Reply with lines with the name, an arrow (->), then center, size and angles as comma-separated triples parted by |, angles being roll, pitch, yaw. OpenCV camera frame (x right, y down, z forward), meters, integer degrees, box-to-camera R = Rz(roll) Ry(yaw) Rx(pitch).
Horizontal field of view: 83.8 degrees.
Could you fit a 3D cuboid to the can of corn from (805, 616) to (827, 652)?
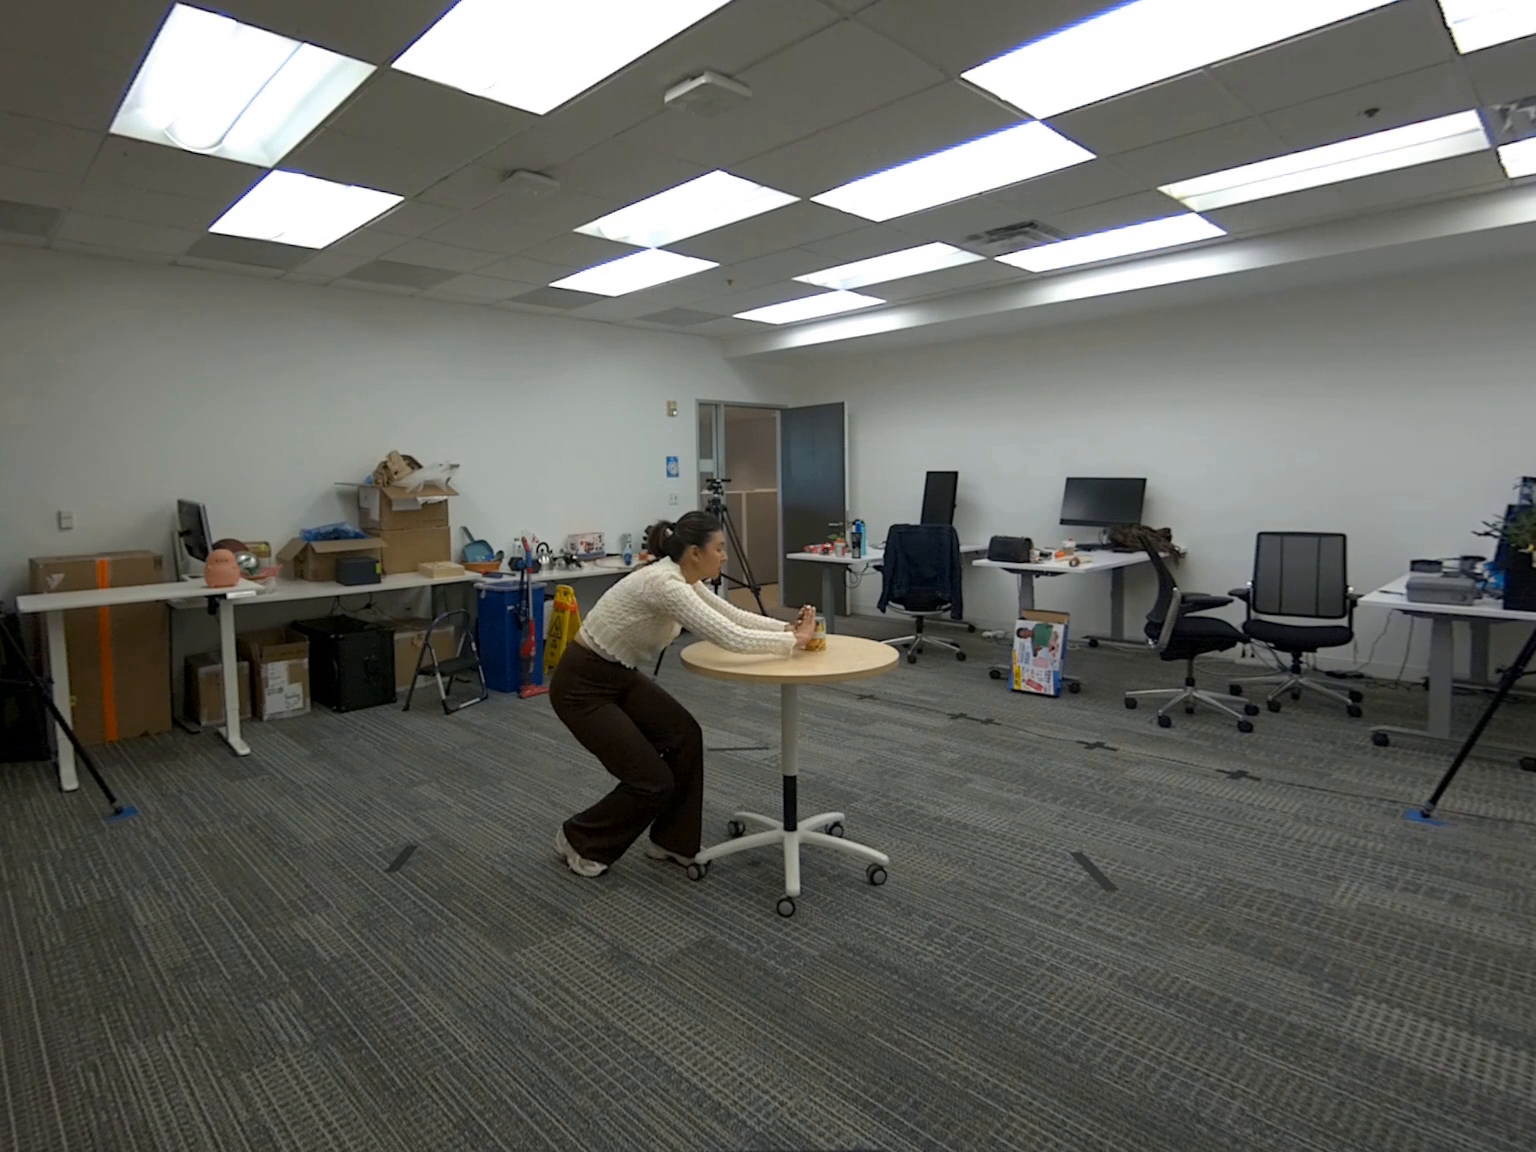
can of corn -> 0.170, 0.204, 3.048 | 0.074, 0.110, 0.074 | -1, 4, -2
